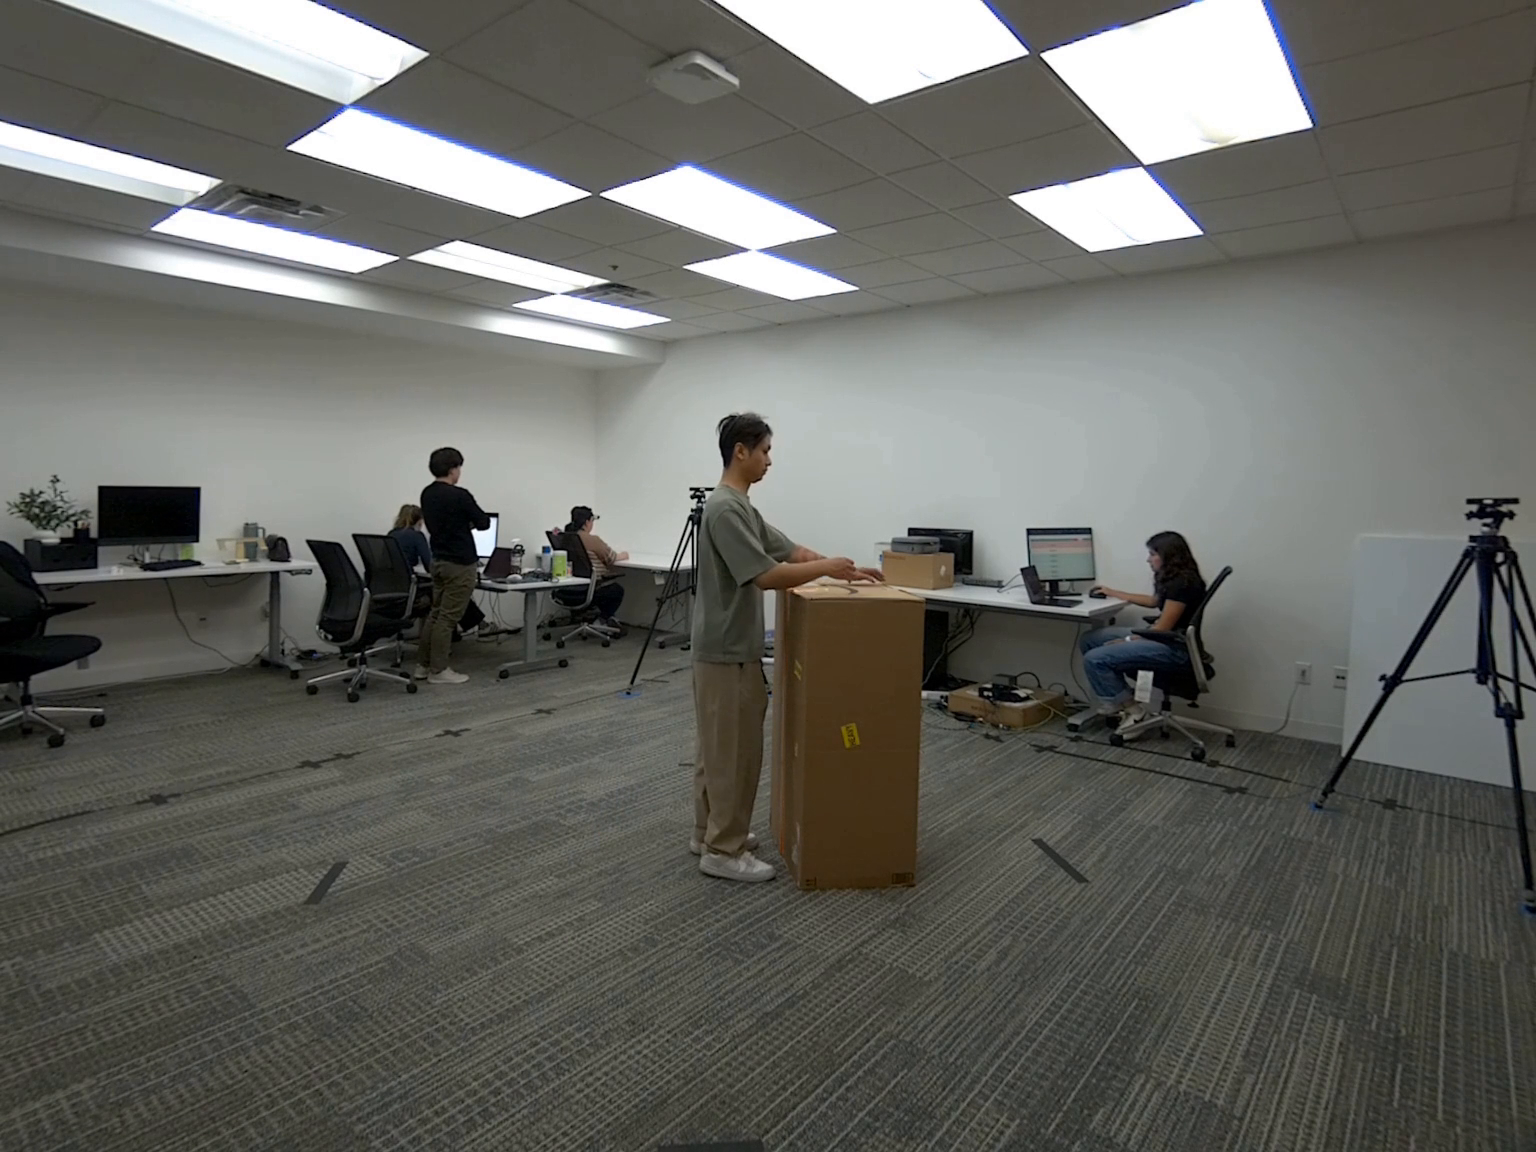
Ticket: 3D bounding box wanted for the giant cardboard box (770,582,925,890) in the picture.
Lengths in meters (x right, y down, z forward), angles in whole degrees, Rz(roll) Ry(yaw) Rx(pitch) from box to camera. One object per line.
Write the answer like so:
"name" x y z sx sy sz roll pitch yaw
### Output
"giant cardboard box" 0.271 0.554 3.235 0.422 1.022 0.586 1 4 -11
